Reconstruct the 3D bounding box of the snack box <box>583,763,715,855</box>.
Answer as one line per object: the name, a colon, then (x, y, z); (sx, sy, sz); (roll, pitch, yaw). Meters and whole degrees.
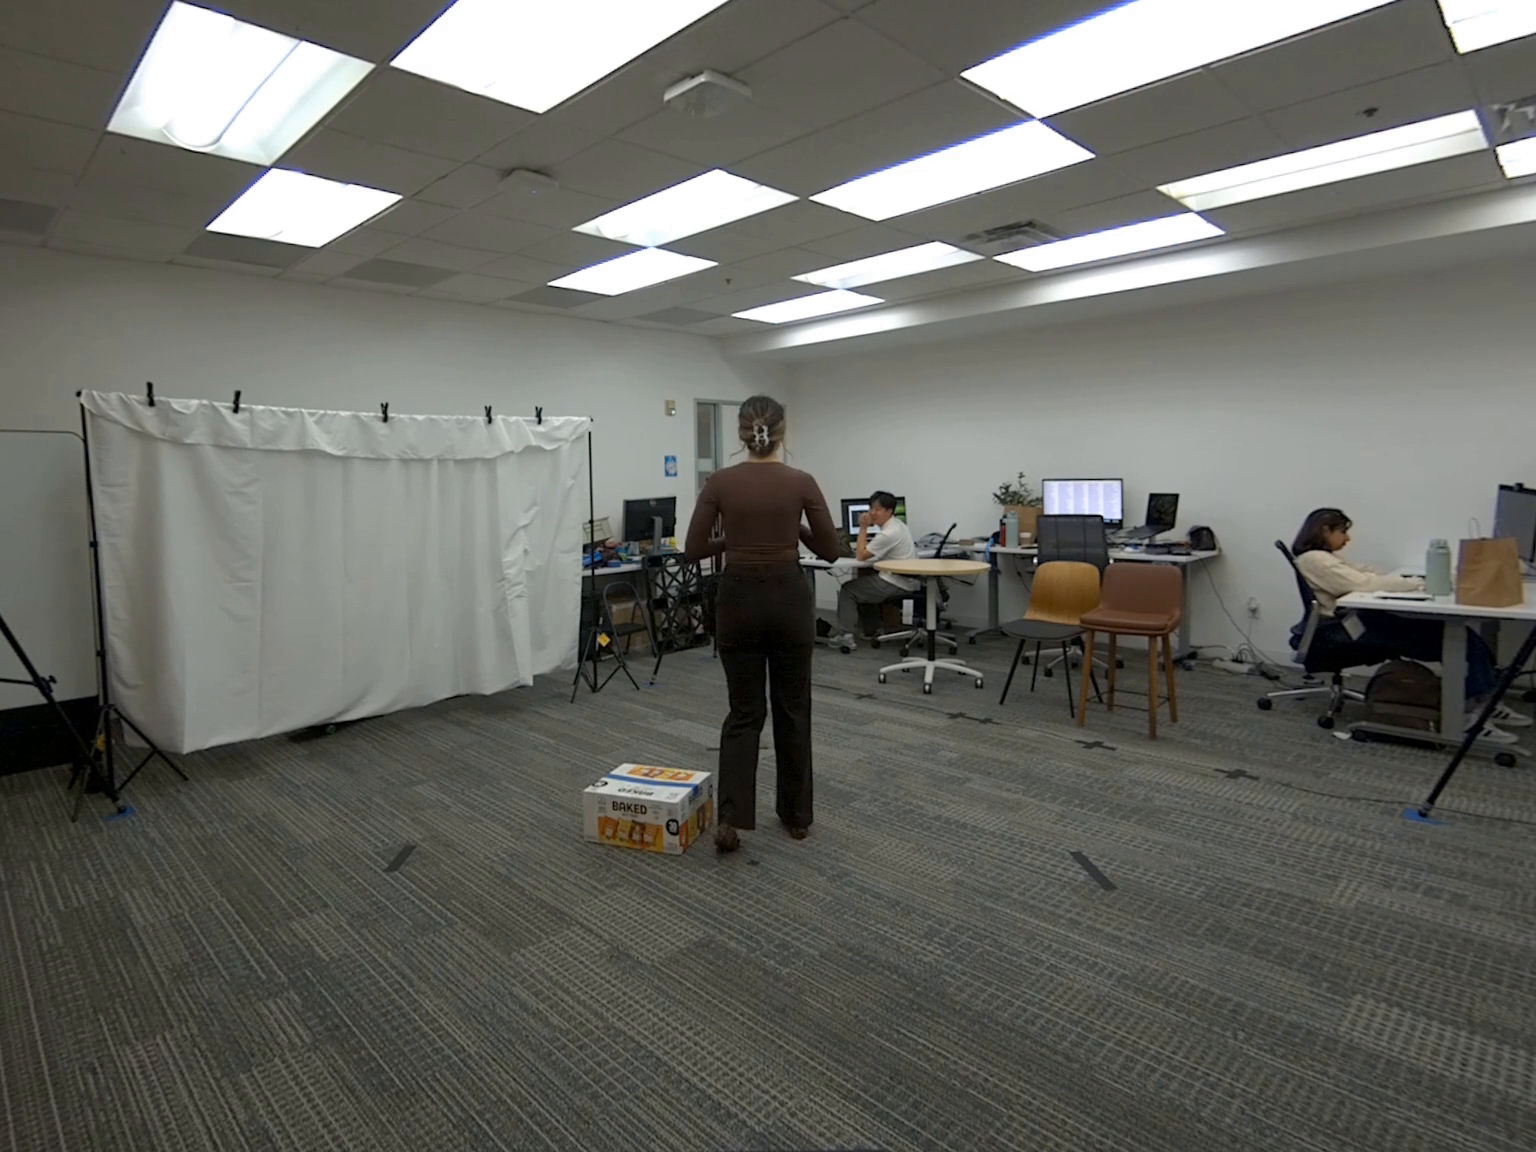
snack box: (-0.467, 0.913, 3.391); (0.413, 0.205, 0.335); (1, 6, 20)
